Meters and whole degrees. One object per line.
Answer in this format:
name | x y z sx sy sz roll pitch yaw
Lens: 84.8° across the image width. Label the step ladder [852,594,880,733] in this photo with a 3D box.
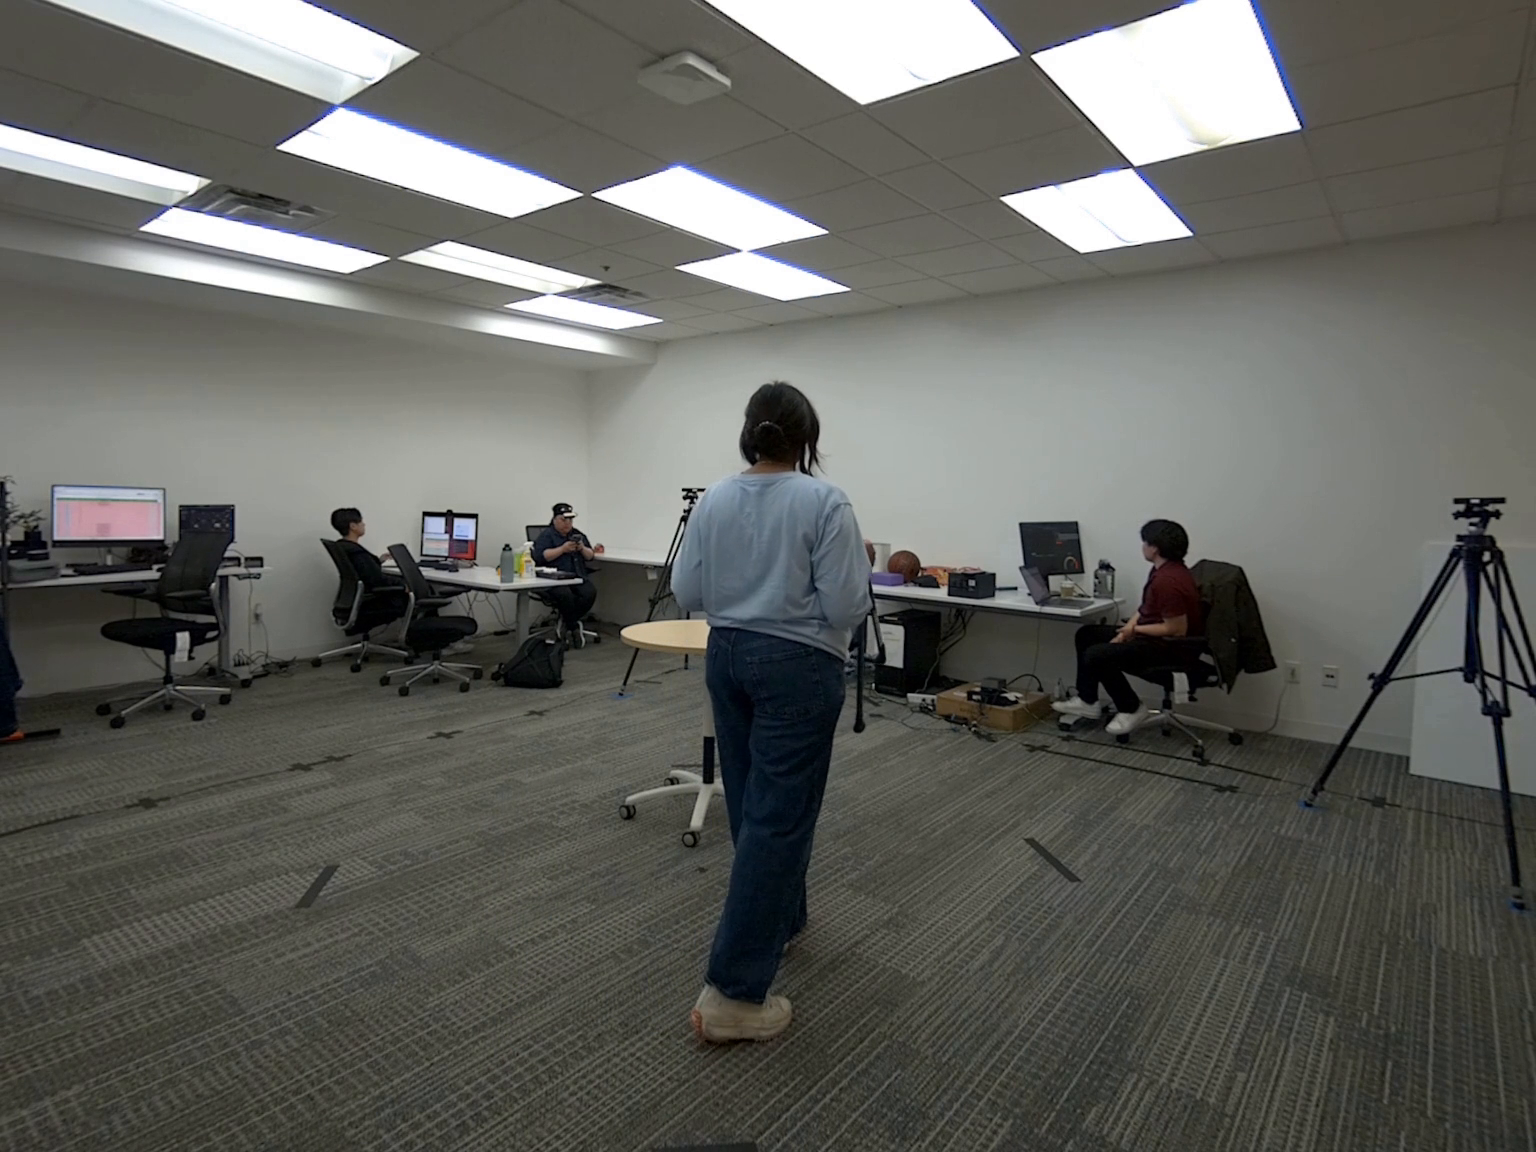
step ladder | 0.097 0.088 2.584 0.441 0.589 0.351 5 32 21
